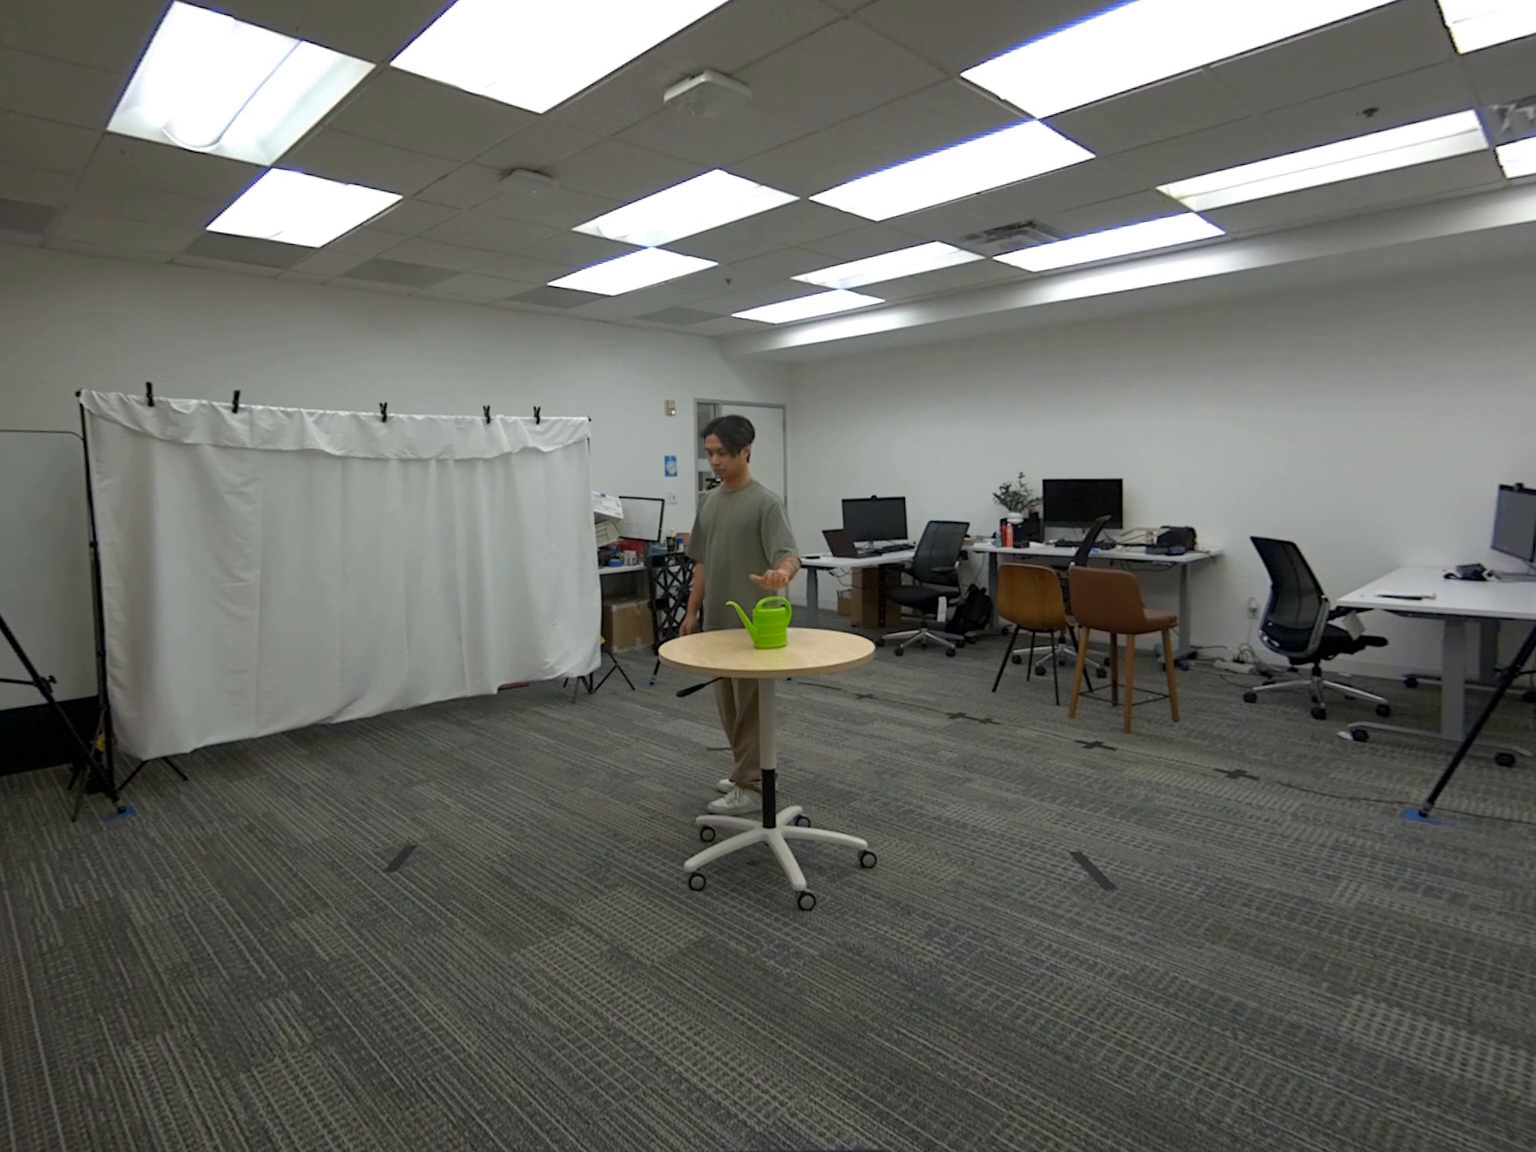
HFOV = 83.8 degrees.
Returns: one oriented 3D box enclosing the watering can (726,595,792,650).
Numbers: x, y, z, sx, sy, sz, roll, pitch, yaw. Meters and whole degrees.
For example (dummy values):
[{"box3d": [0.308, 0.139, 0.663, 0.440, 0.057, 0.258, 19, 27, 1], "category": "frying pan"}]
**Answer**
[{"box3d": [-0.034, 0.168, 3.022, 0.272, 0.176, 0.100, -3, 5, -24], "category": "watering can"}]
